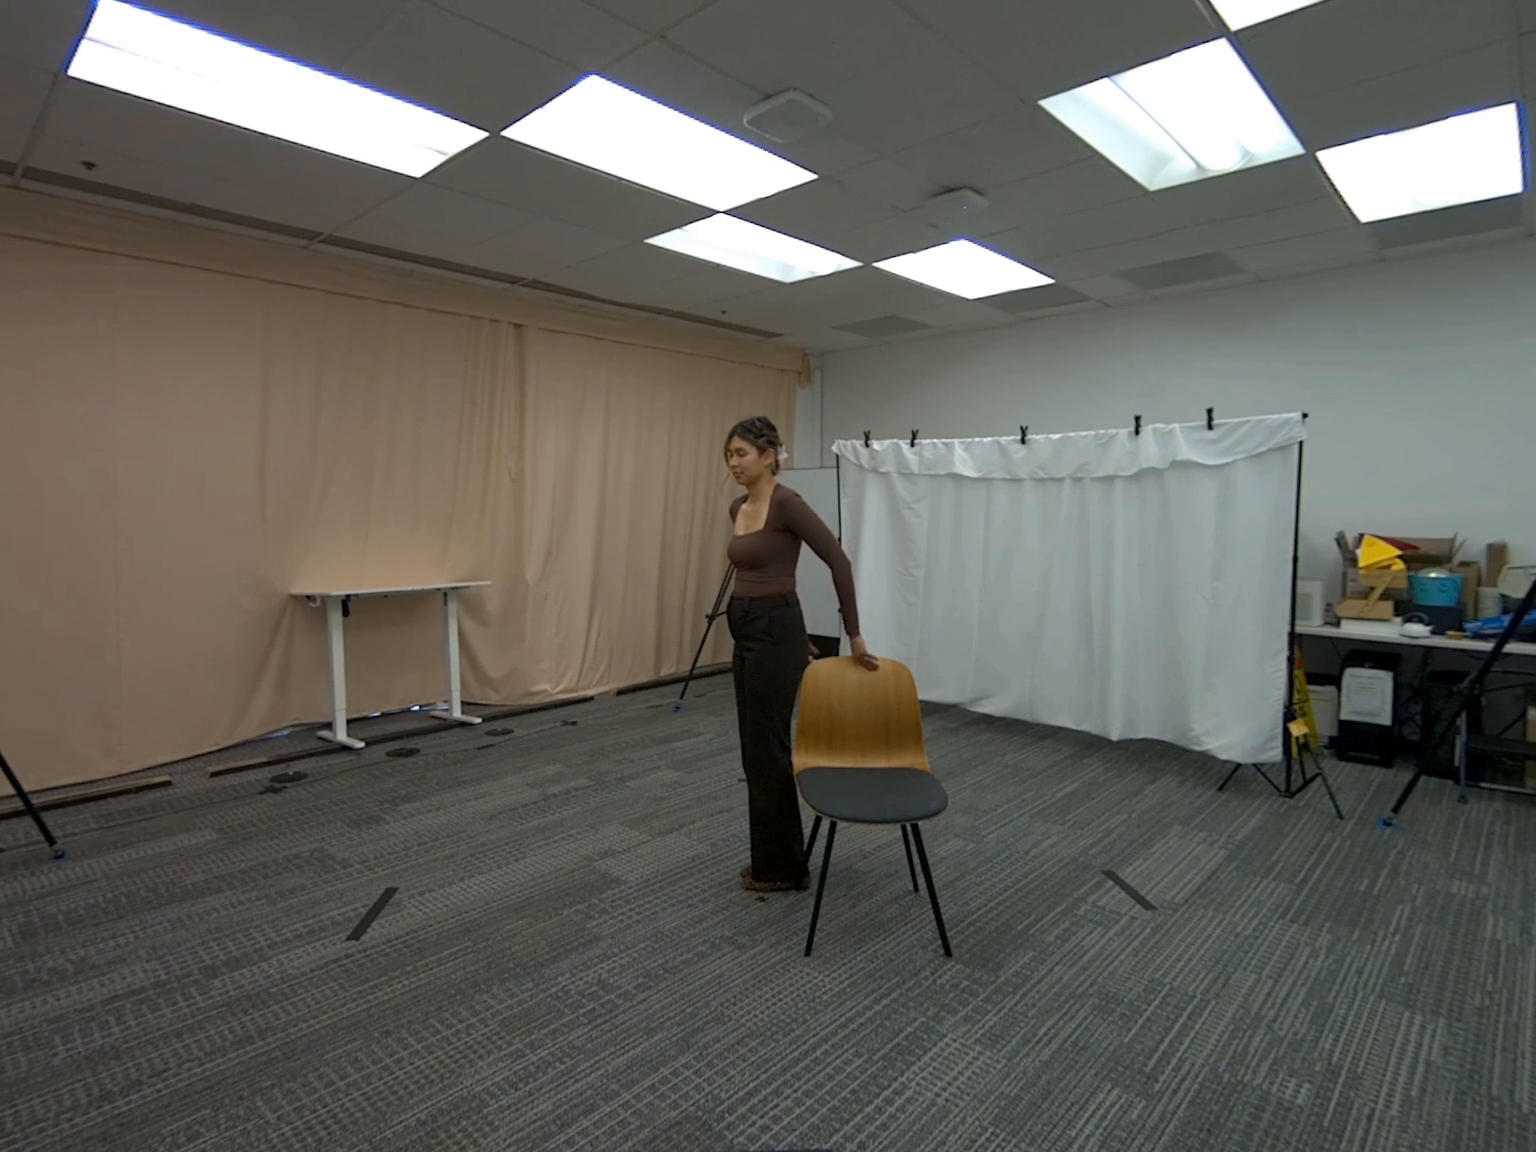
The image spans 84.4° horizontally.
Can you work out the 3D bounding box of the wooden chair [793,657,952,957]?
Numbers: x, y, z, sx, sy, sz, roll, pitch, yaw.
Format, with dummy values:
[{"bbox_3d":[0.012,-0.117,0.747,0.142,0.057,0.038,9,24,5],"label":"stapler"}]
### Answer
[{"bbox_3d":[0.336,0.731,2.779,0.478,0.878,0.523,0,0,-1],"label":"wooden chair"}]
